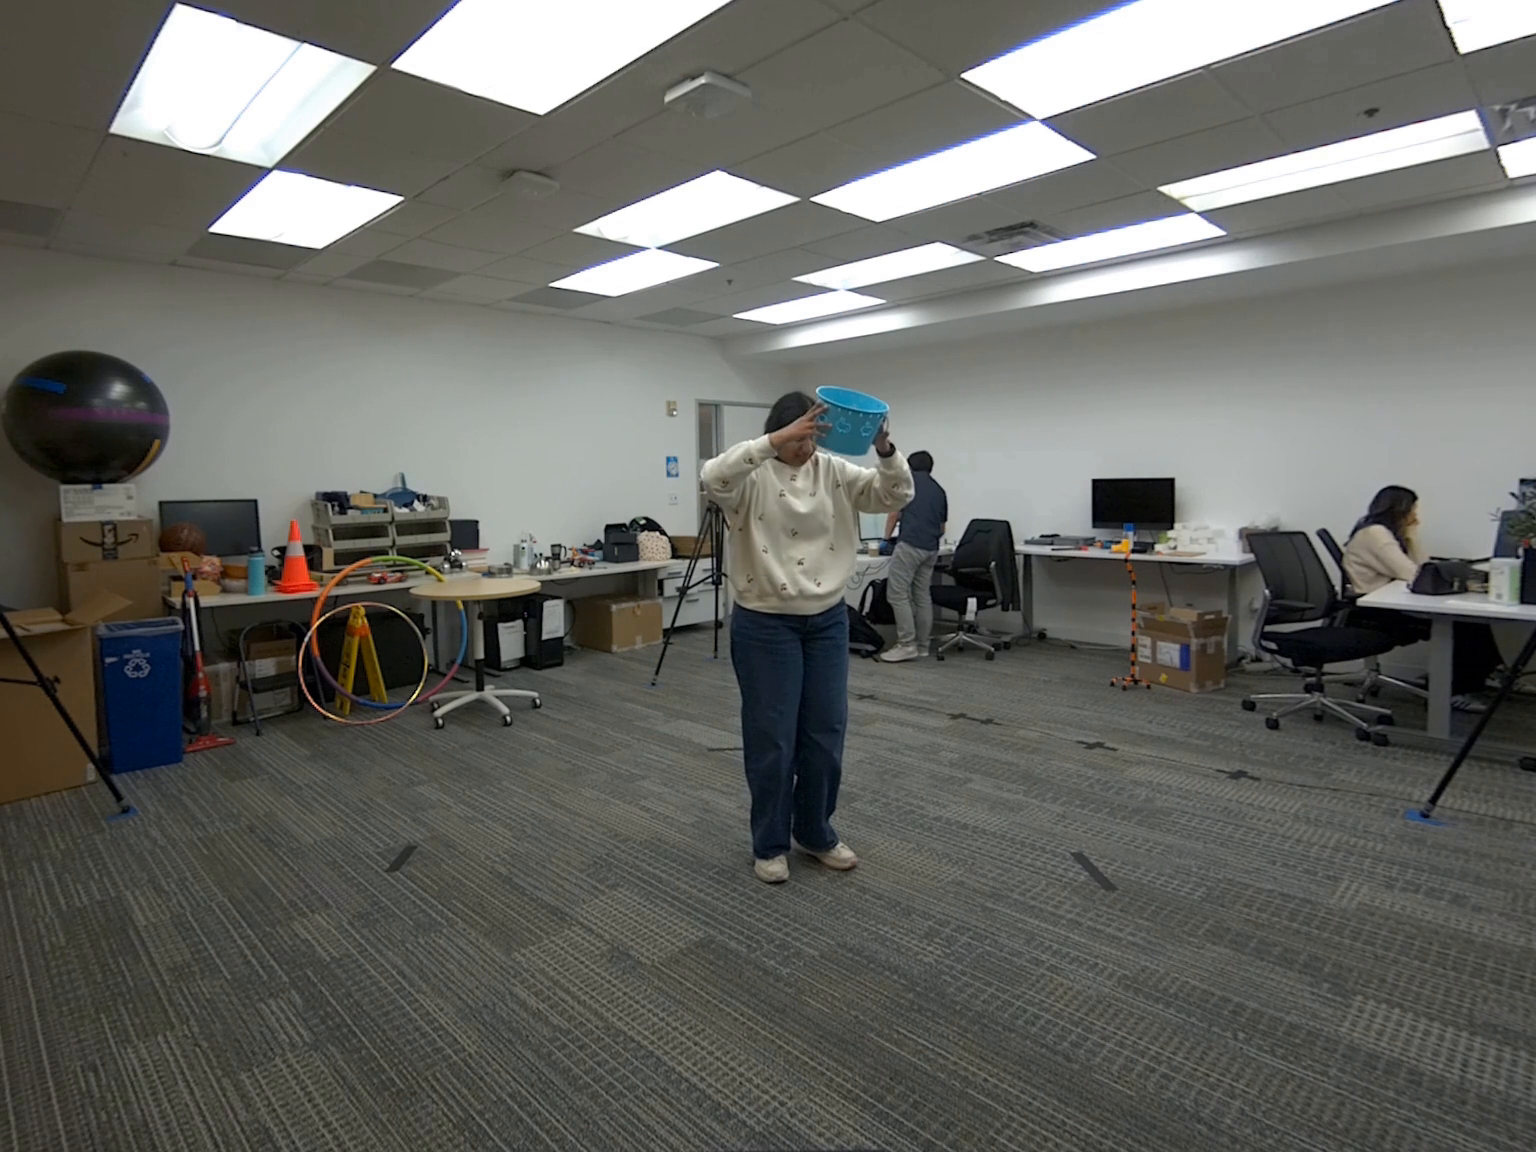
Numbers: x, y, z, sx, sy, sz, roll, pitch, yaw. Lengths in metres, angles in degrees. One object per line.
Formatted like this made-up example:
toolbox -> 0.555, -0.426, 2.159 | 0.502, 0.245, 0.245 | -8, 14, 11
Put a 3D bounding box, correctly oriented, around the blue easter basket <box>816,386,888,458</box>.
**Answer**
blue easter basket -> 0.242, -0.472, 2.652 | 0.242, 0.153, 0.249 | 9, 26, -6
